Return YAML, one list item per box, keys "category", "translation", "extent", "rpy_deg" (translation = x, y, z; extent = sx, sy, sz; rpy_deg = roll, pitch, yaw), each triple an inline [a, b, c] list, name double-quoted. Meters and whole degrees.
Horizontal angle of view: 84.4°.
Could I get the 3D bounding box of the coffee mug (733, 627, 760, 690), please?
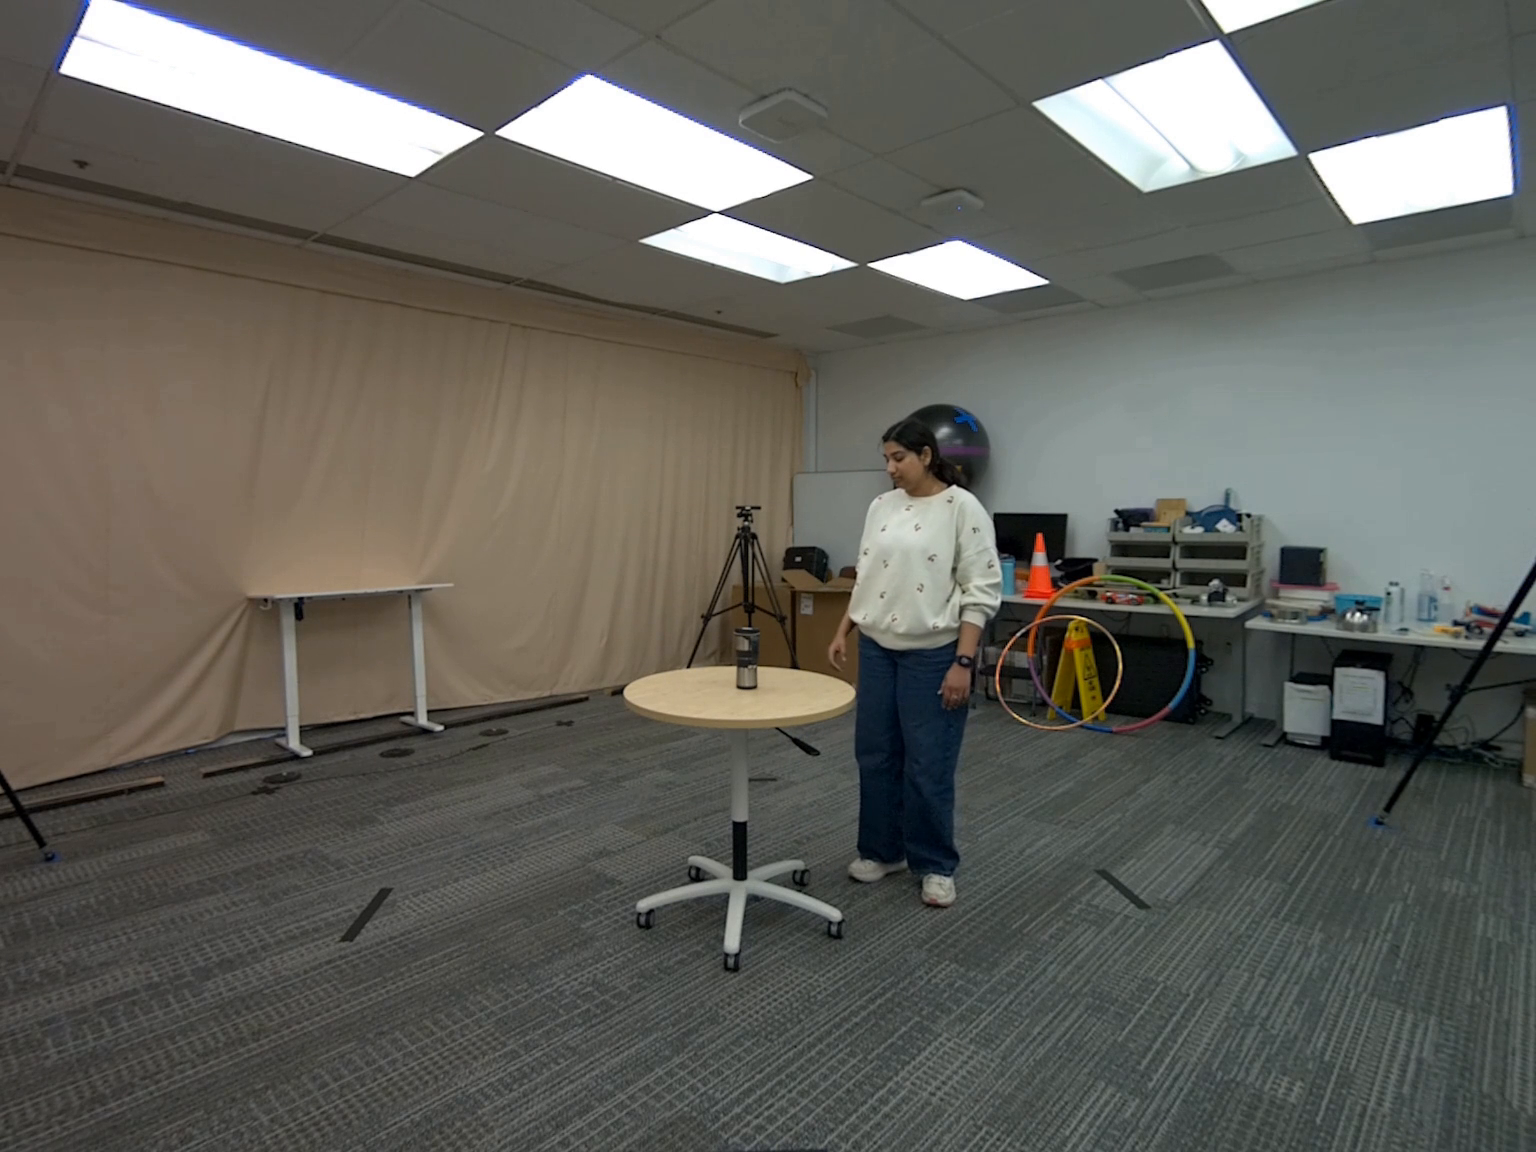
- category: "coffee mug"
  translation: [-0.078, 0.281, 2.806]
  extent: [0.091, 0.202, 0.118]
  rpy_deg: [6, 4, 42]
